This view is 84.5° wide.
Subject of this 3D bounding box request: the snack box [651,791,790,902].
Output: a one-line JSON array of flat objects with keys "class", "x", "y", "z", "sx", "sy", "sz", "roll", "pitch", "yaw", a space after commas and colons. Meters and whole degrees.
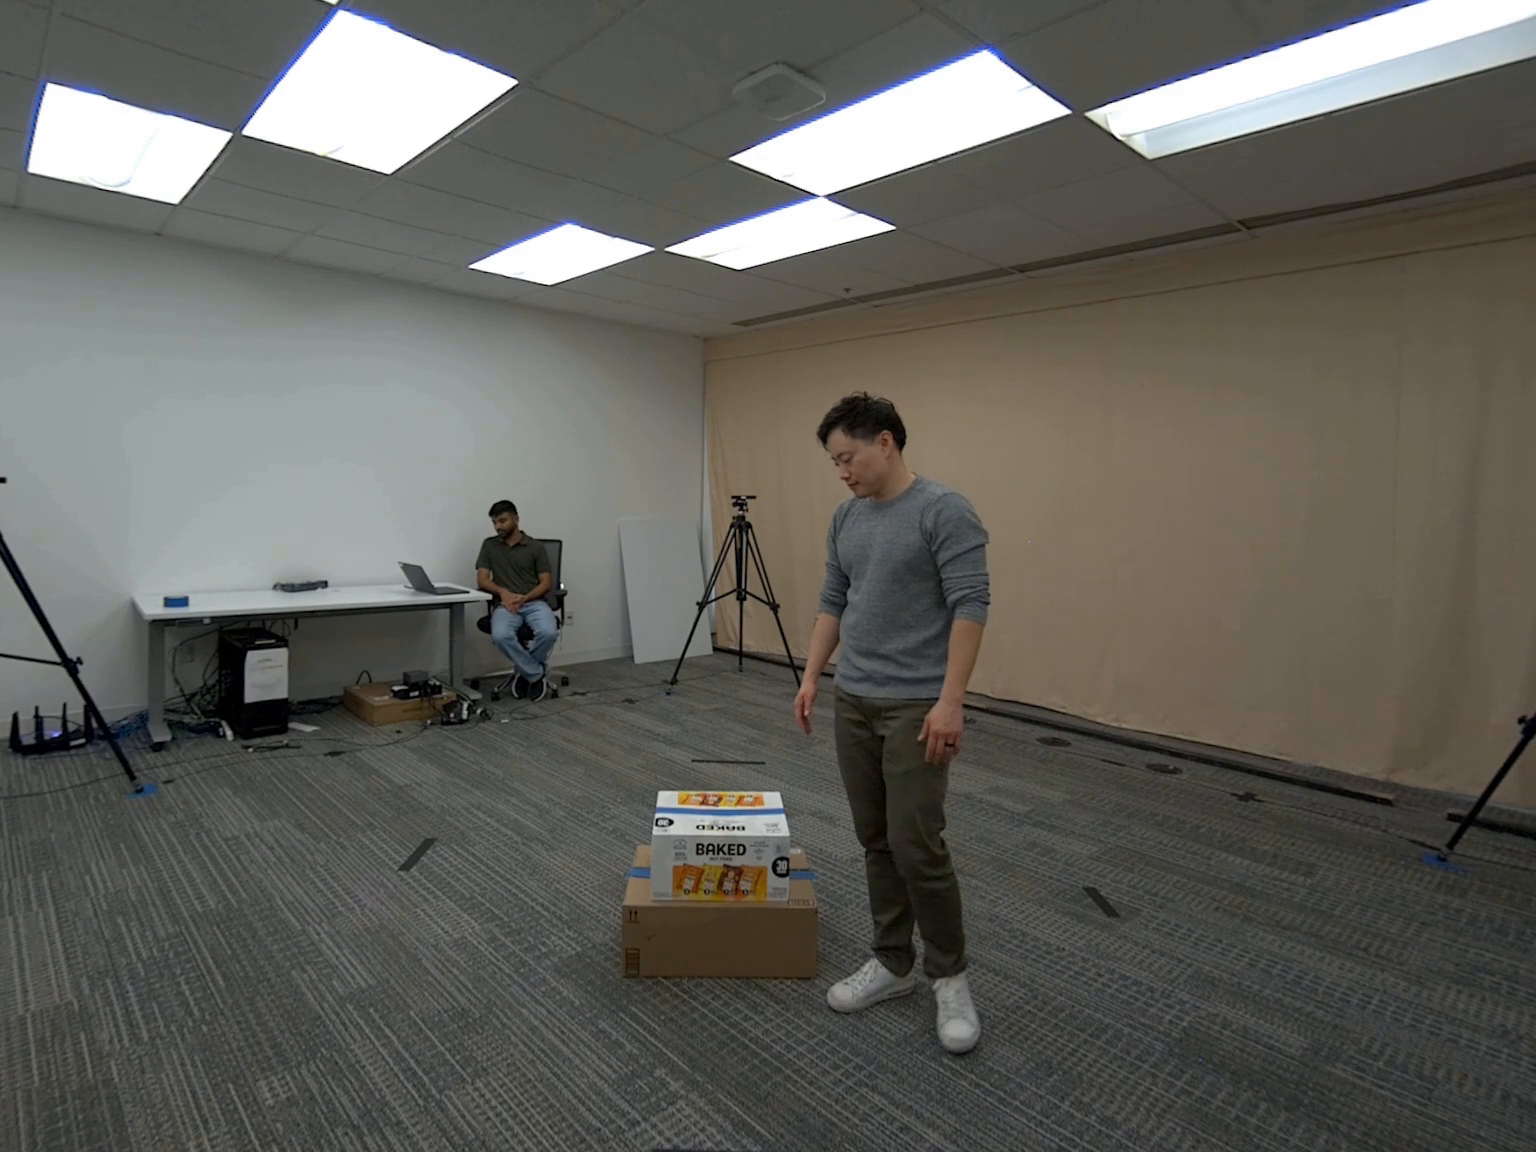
[{"class": "snack box", "x": -0.153, "y": 0.830, "z": 2.602, "sx": 0.404, "sy": 0.205, "sz": 0.342, "roll": 1, "pitch": 6, "yaw": -3}]
